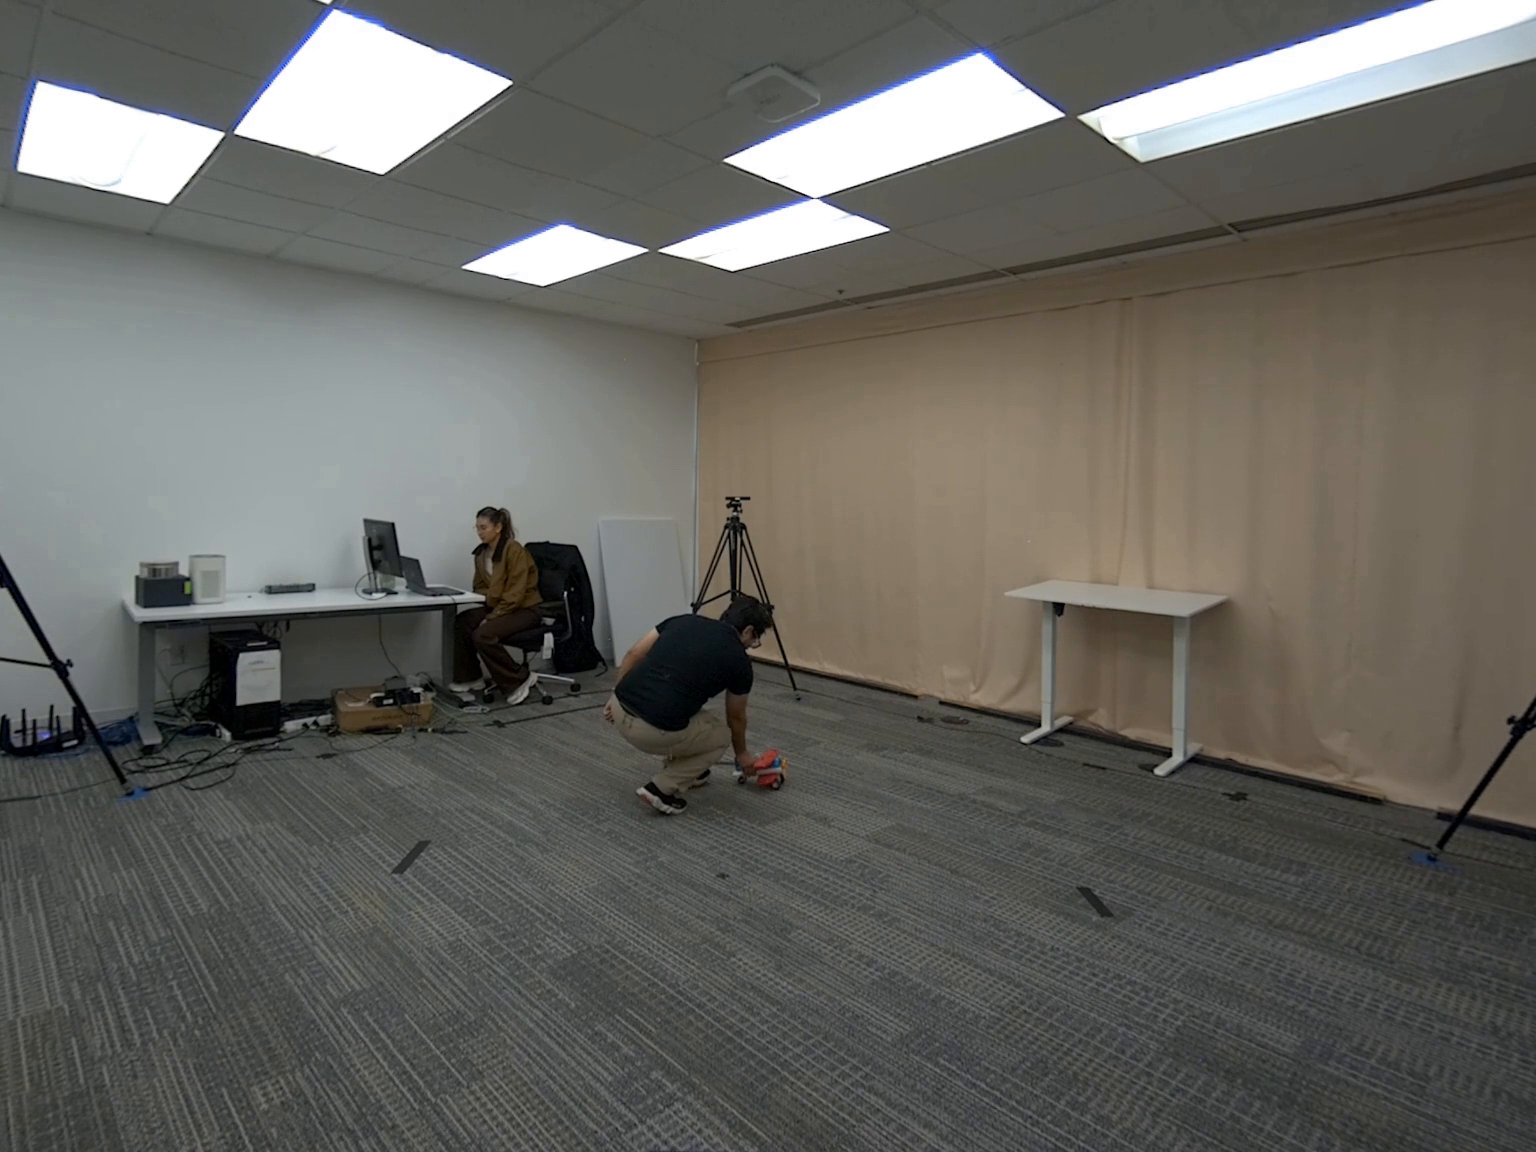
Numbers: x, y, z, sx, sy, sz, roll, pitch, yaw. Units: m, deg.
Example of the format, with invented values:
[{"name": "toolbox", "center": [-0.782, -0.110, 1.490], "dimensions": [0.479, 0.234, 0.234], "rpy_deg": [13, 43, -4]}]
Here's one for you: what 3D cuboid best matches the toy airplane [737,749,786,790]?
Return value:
[{"name": "toy airplane", "center": [-0.055, 0.951, 4.099], "dimensions": [0.256, 0.156, 0.255], "rpy_deg": [1, 7, -14]}]
